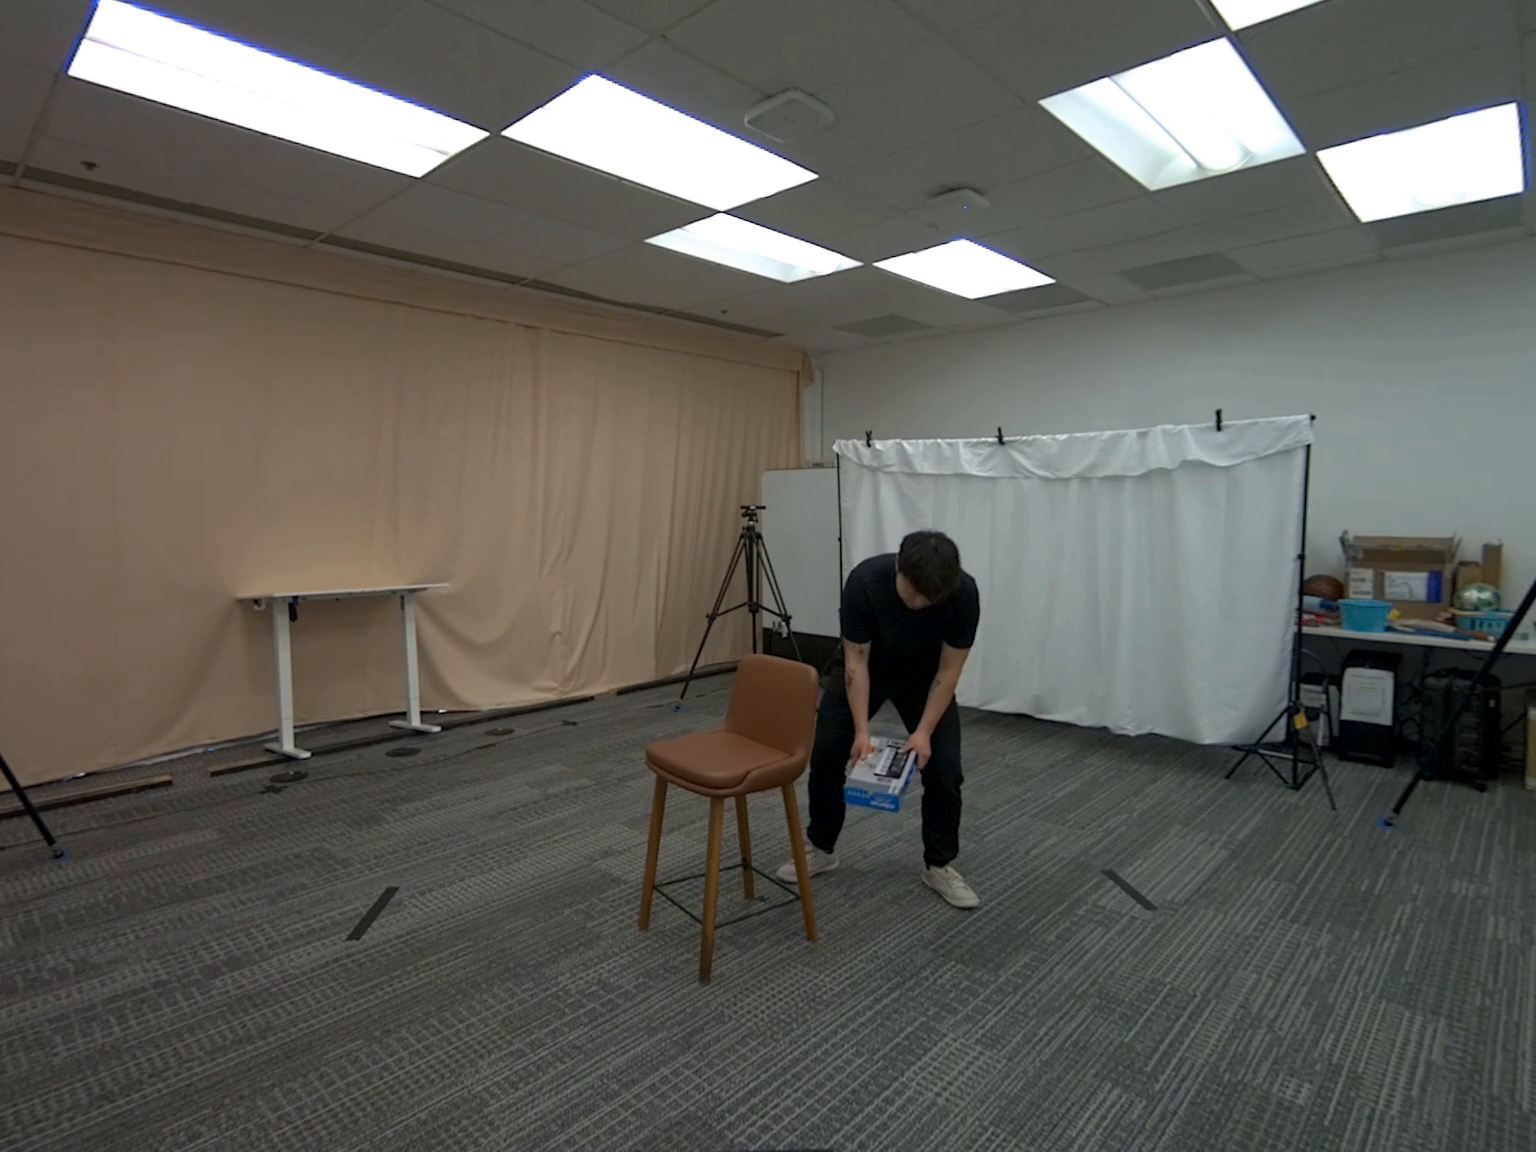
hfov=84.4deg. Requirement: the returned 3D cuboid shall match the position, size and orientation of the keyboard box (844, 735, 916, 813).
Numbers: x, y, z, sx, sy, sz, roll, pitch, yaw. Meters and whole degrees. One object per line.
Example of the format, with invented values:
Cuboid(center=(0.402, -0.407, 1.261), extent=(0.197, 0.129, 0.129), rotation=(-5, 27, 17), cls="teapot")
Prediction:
Cuboid(center=(0.384, 0.639, 2.796), extent=(0.180, 0.058, 0.431), rotation=(4, 15, 19), cls="keyboard box")
